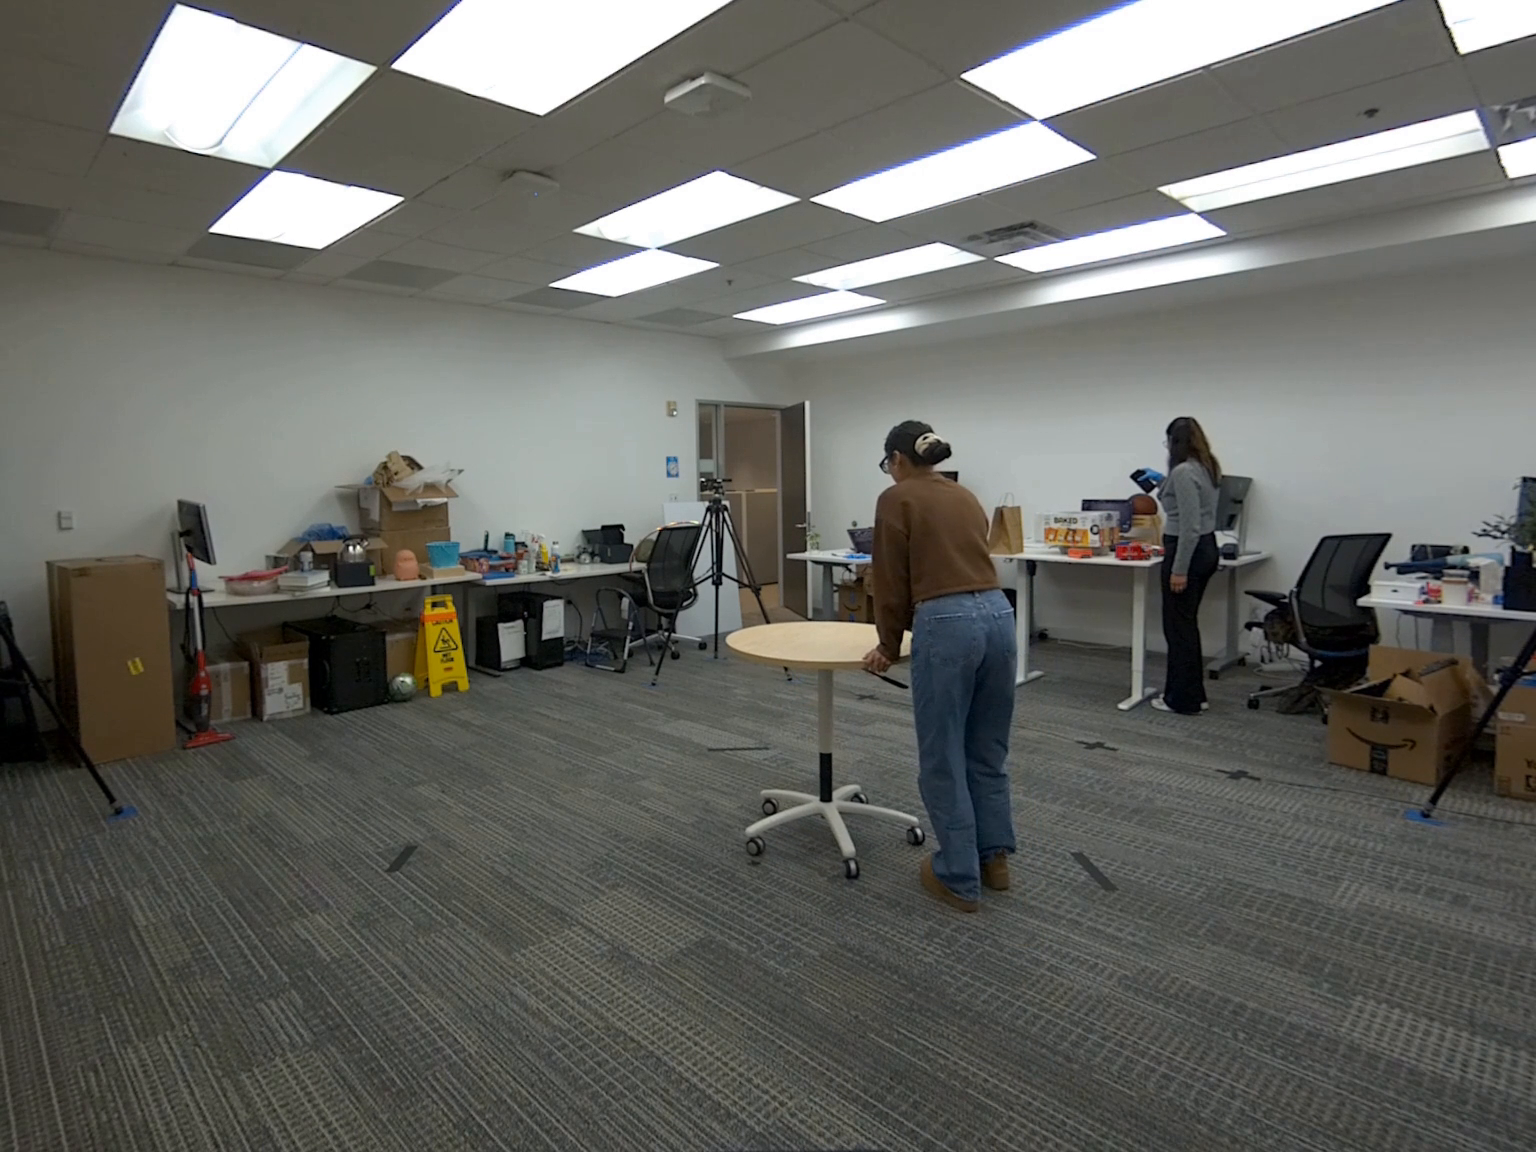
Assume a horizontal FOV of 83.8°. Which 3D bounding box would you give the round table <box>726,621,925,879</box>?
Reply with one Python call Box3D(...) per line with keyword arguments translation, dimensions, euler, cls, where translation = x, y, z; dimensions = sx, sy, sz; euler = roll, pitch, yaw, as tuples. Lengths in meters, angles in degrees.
Box3D(translation=(0.231, 0.633, 3.315), dimensions=(0.763, 0.791, 0.768), euler=(-1, 5, -2), cls="round table")
